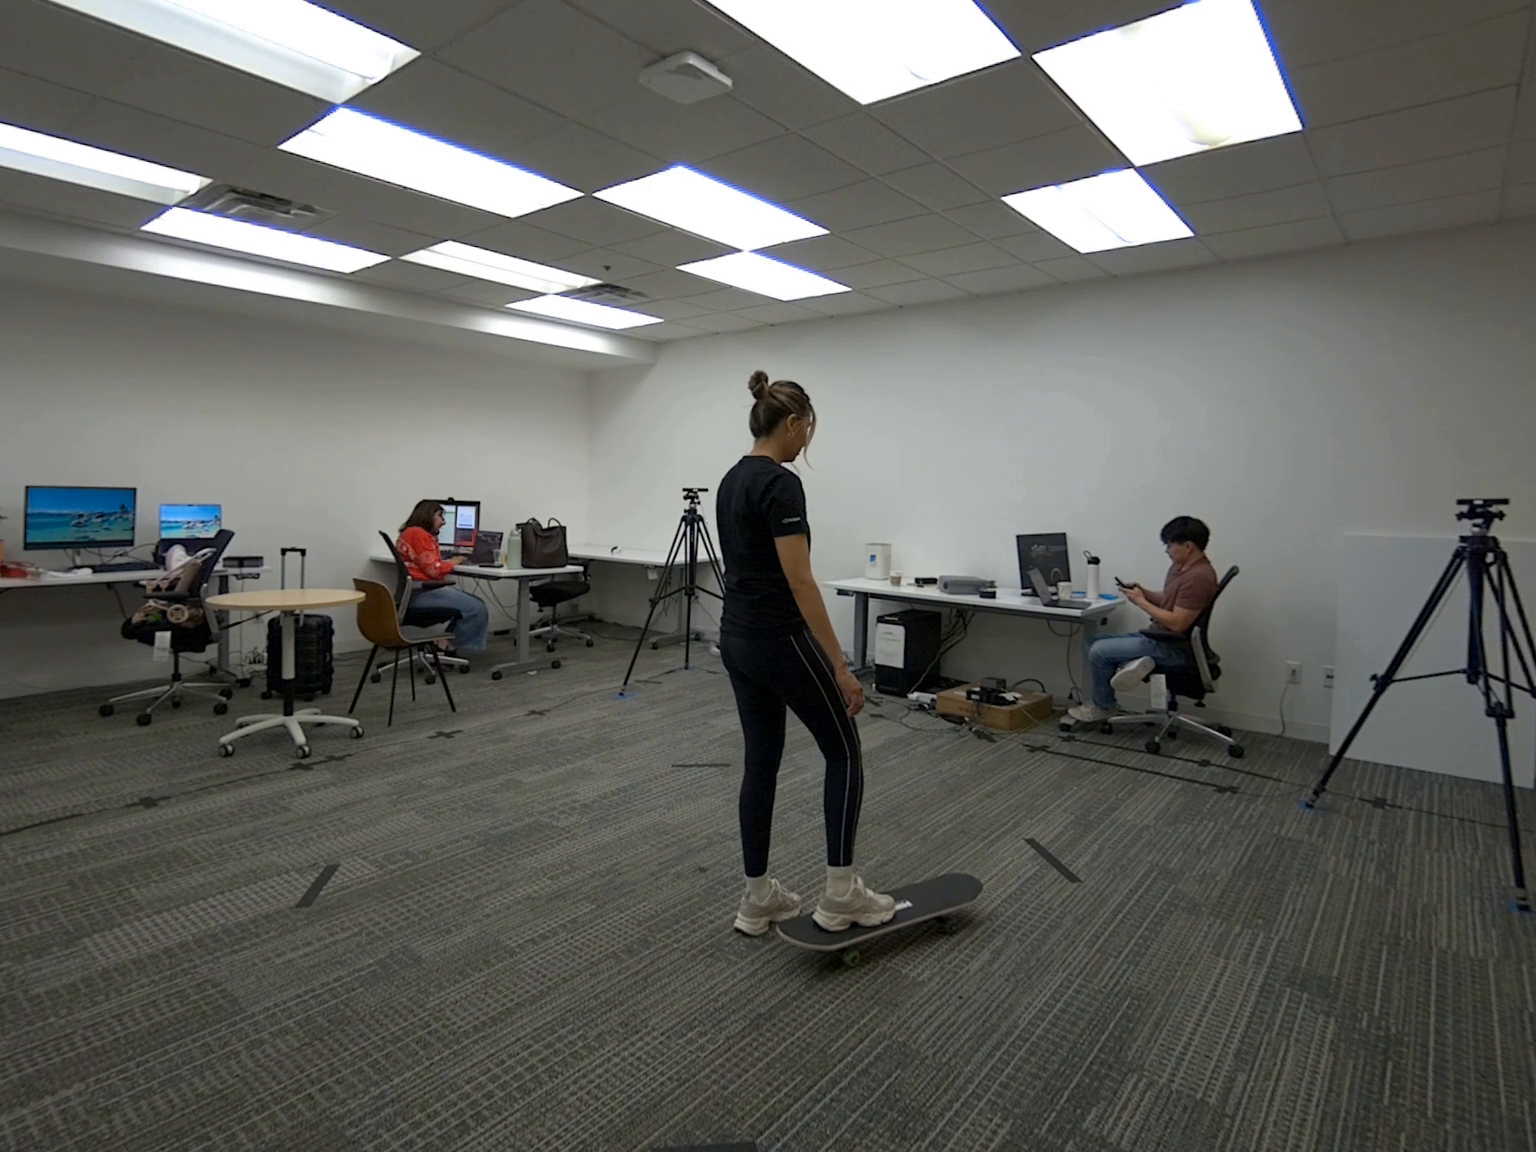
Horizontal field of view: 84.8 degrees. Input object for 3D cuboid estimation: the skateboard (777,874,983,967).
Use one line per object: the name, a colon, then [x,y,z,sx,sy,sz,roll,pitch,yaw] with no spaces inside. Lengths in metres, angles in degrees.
skateboard: [0.362,1.075,2.659,0.764,0.110,0.199,-2,6,-31]
